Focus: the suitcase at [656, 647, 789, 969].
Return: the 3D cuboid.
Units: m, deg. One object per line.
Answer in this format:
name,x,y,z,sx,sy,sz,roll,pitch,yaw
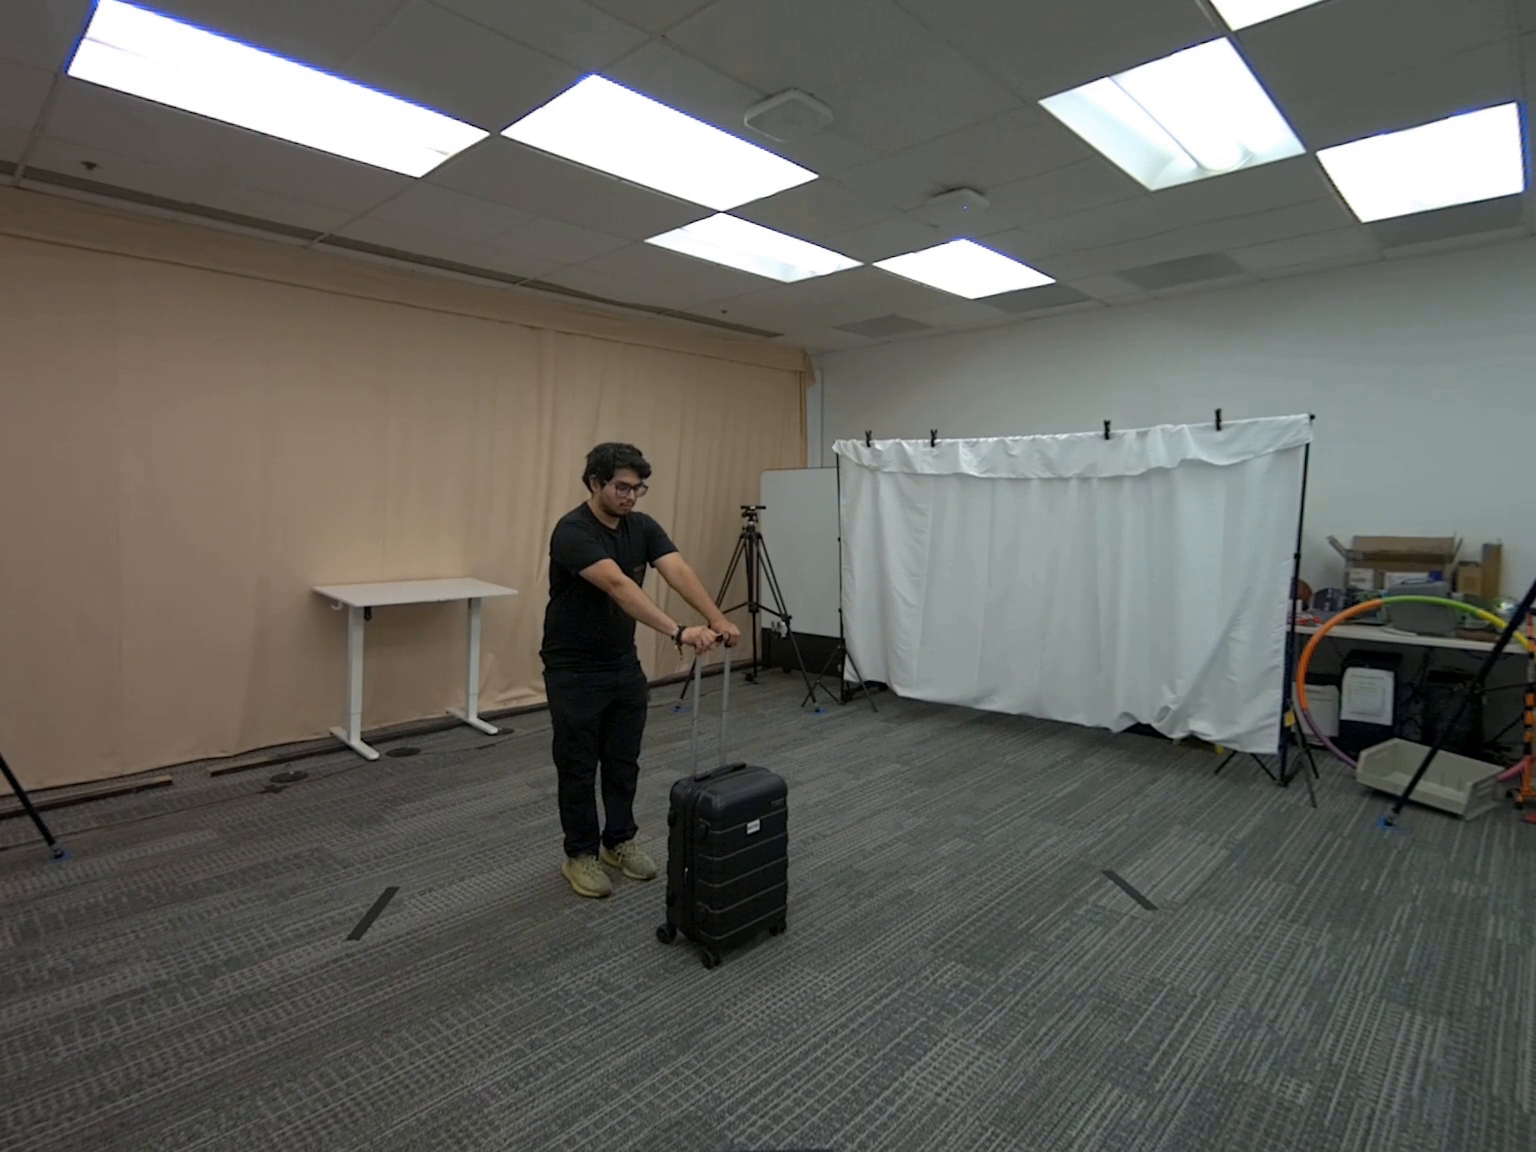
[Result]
suitcase,-0.113,0.697,2.670,0.372,0.975,0.266,-3,9,-45
